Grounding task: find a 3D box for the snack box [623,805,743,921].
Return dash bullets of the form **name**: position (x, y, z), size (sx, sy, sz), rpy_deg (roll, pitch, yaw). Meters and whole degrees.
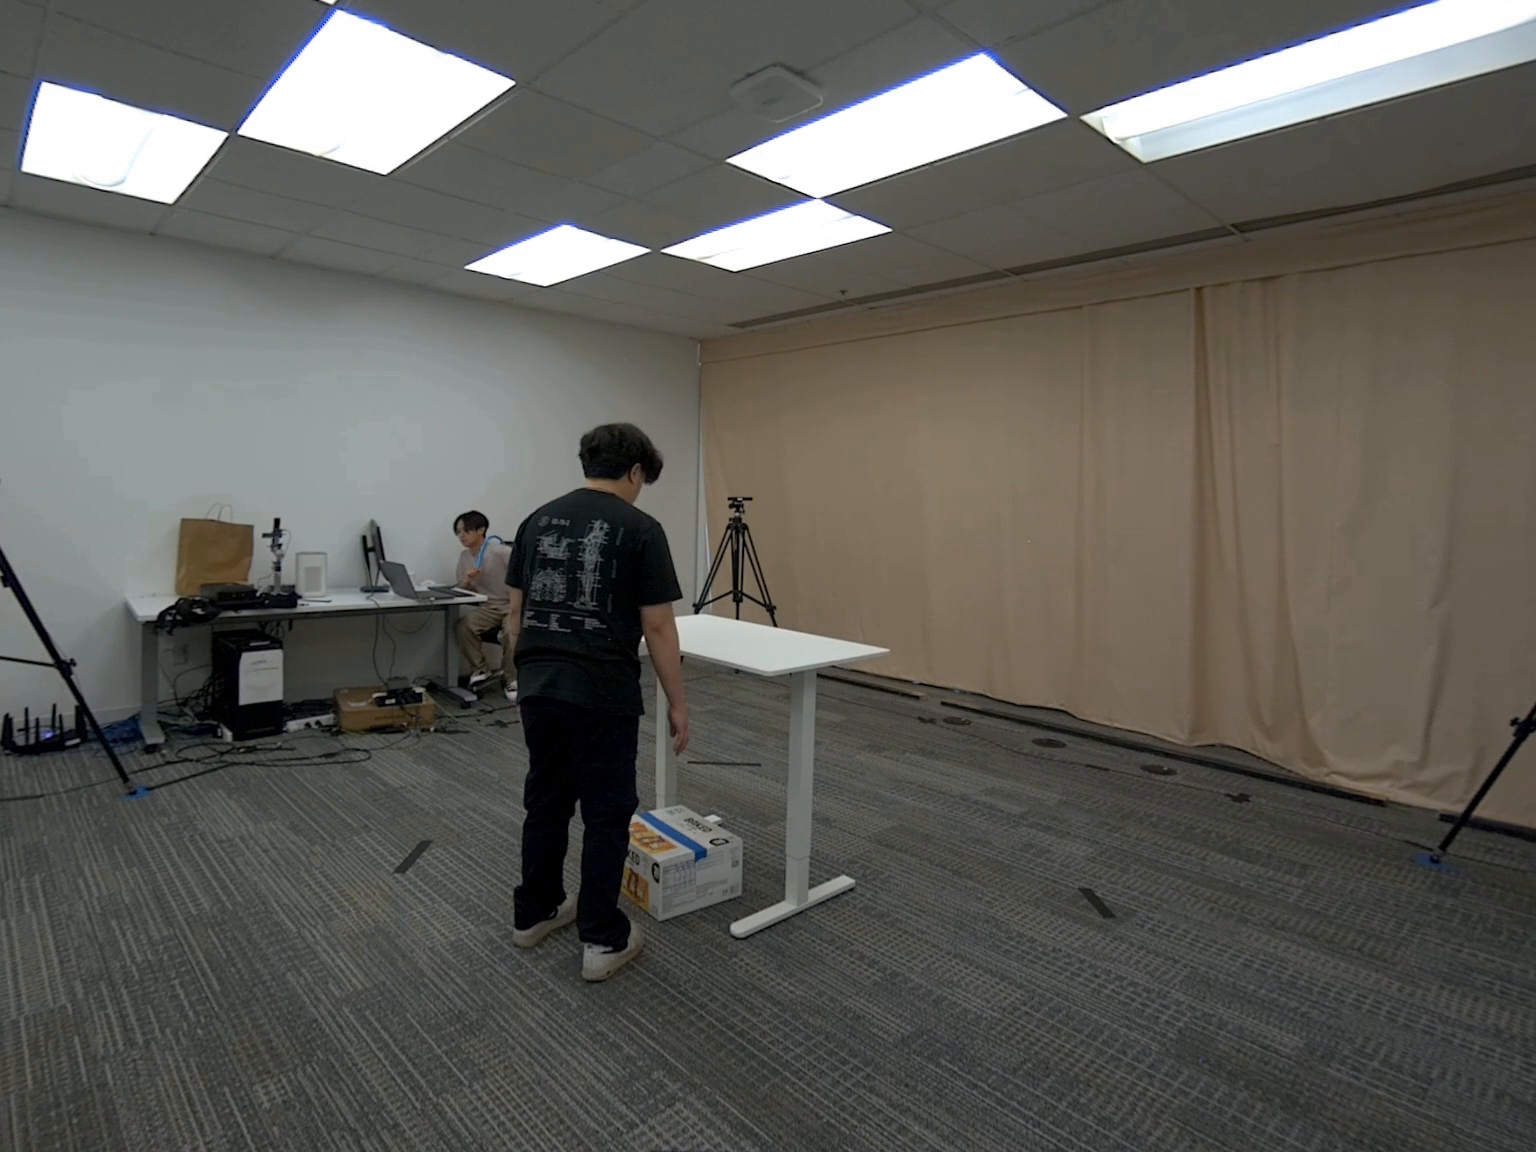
- **snack box**: position (-0.354, 1.013, 3.003), size (0.333, 0.205, 0.415), rpy_deg (-2, 6, -38)
